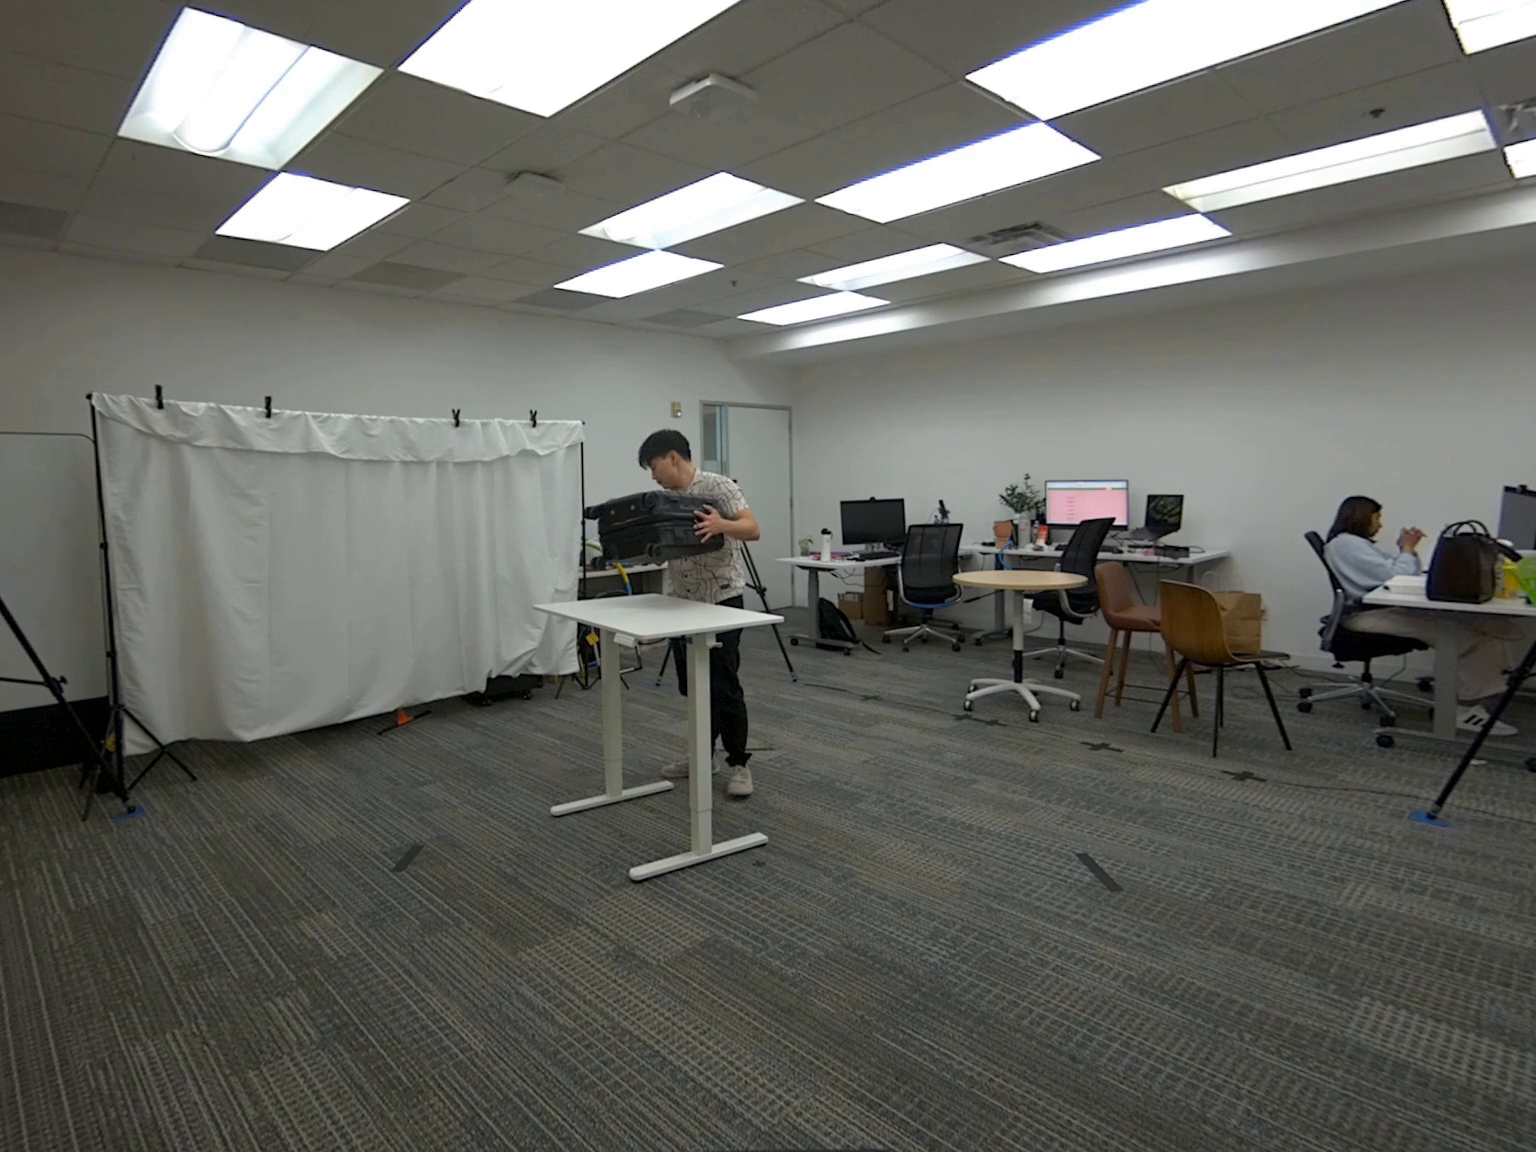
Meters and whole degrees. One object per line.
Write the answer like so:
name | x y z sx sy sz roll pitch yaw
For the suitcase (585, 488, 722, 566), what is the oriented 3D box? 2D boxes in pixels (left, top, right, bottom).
suitcase | -0.433 -0.205 3.605 0.383 0.249 0.536 -9 -2 28
